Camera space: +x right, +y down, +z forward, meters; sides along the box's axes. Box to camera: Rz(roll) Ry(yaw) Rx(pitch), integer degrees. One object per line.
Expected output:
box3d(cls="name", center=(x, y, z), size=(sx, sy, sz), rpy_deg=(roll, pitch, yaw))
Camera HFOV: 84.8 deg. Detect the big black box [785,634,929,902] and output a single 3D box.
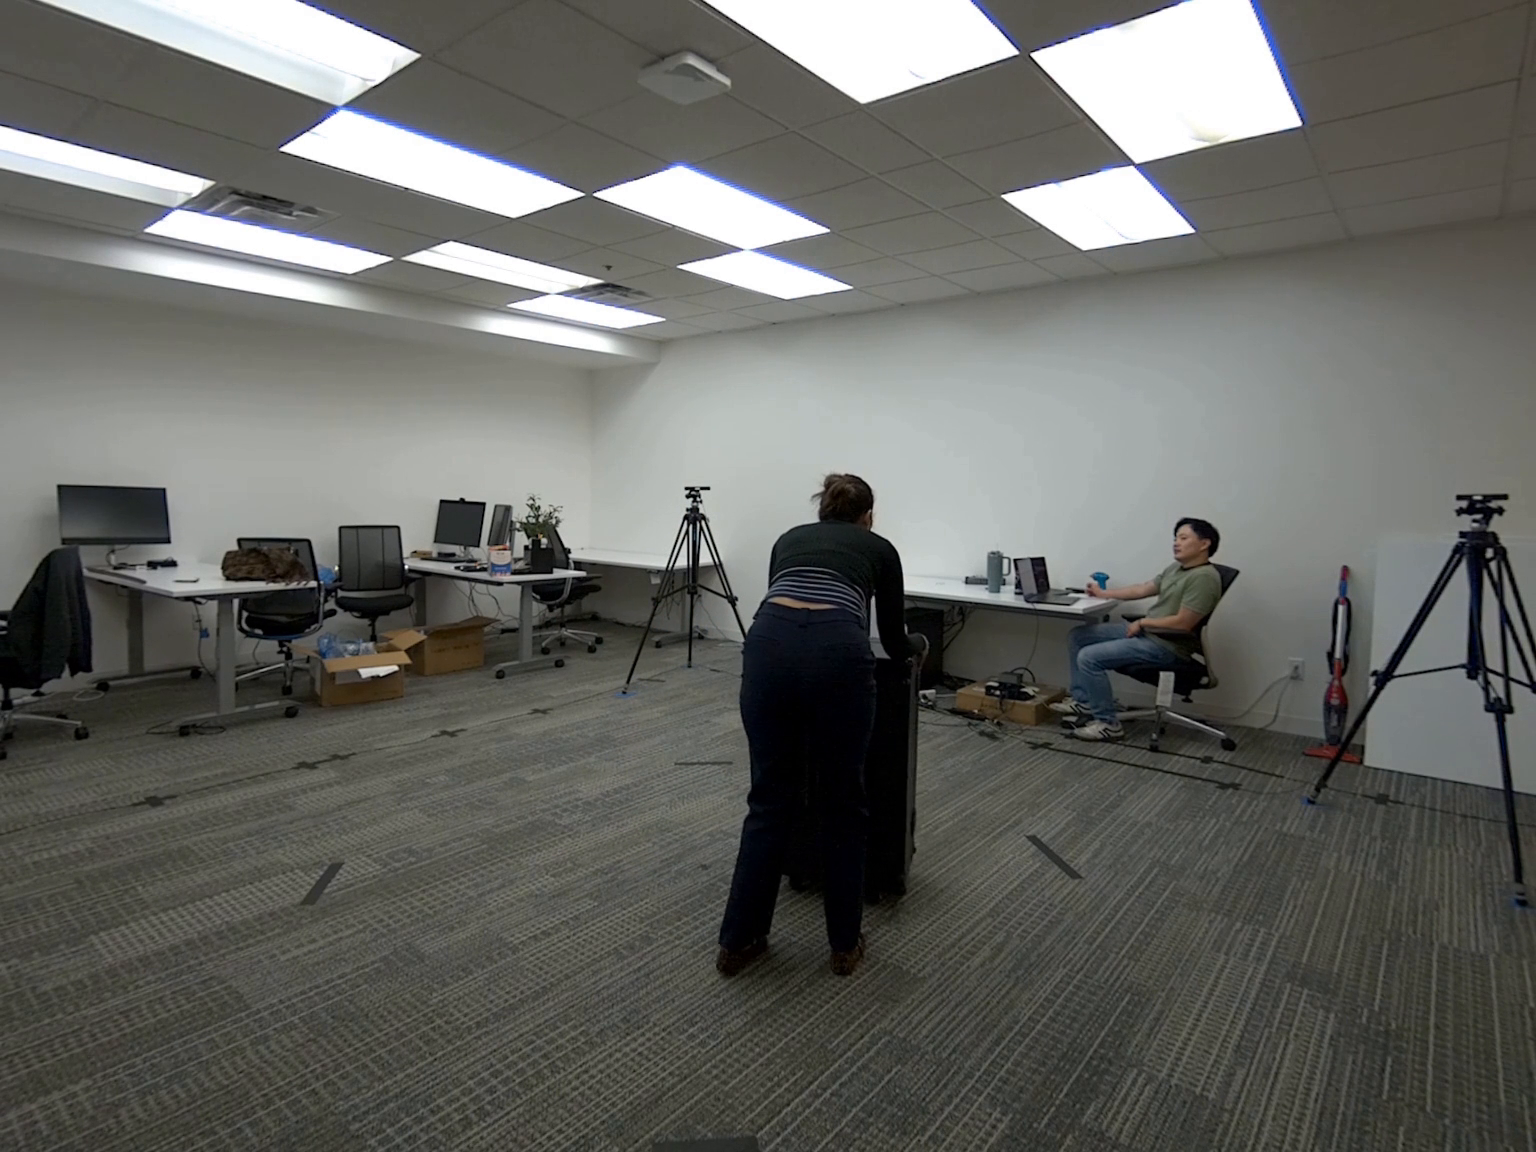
box3d(cls="big black box", center=(0.264, 0.664, 2.985), size=(0.531, 0.857, 0.391), rpy_deg=(2, 5, 17))
